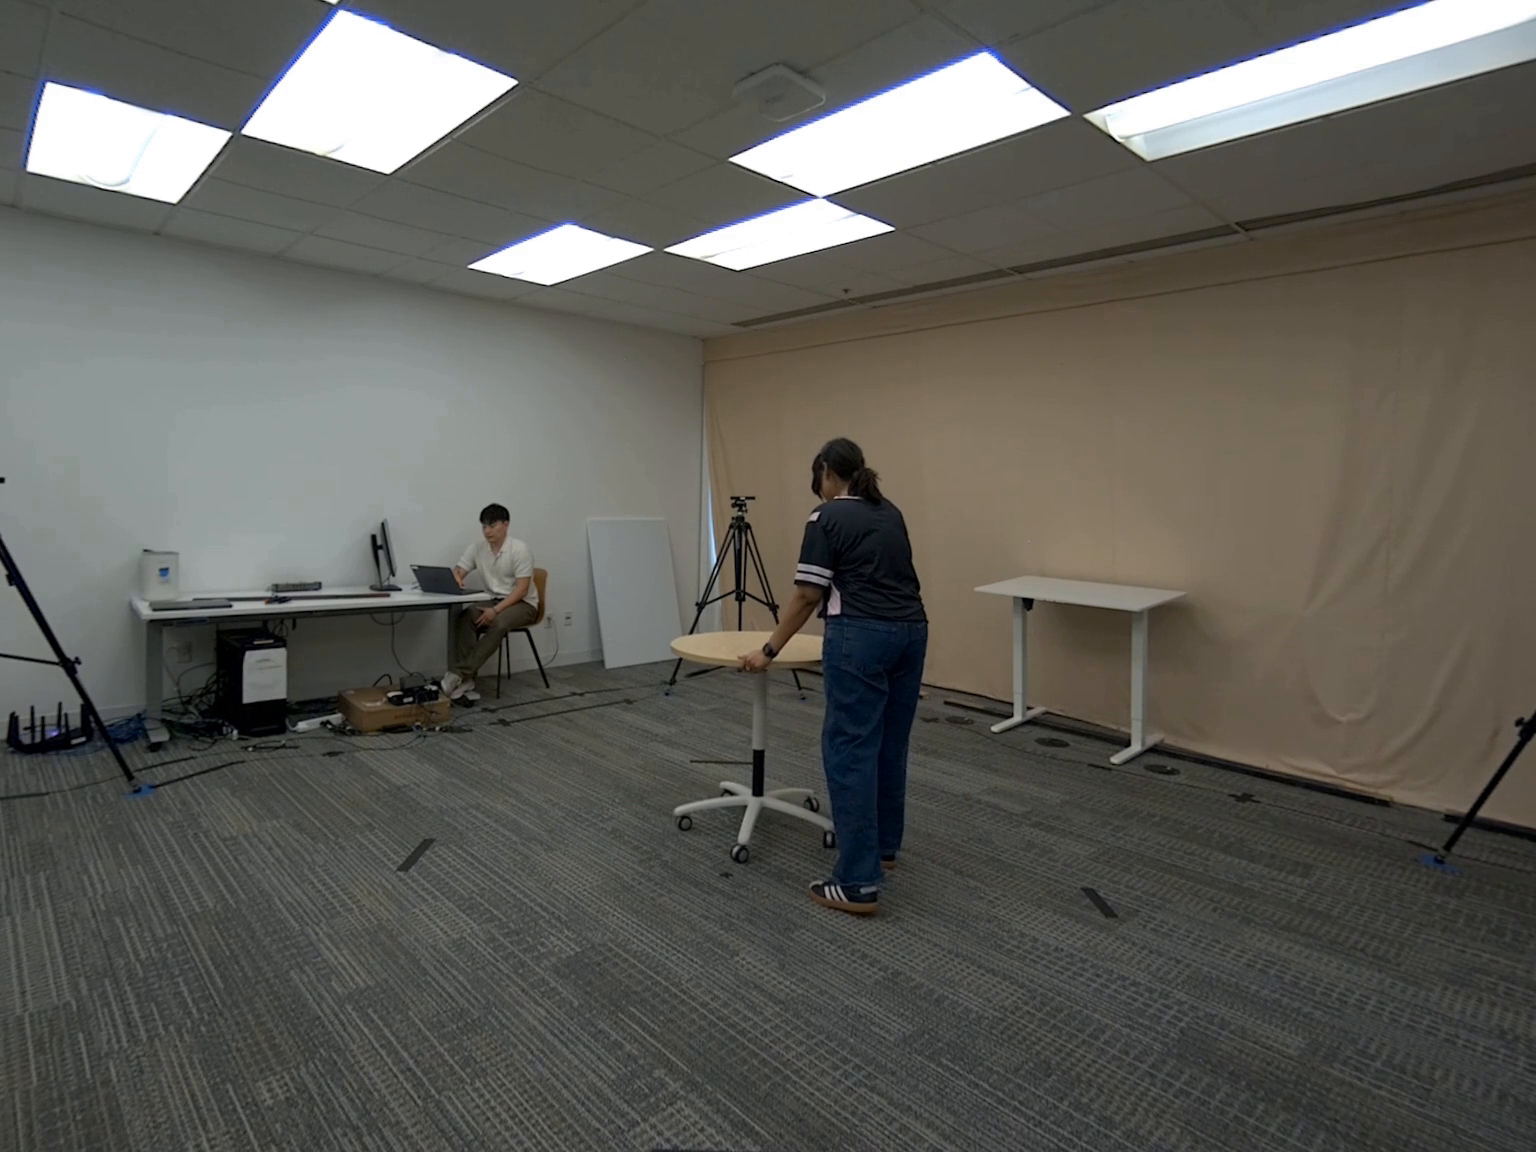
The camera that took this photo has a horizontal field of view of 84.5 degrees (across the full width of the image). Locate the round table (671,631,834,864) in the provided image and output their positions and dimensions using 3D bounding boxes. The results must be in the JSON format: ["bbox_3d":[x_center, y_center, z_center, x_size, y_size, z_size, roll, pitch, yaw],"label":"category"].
[{"bbox_3d":[-0.034,0.676,3.530,0.784,0.784,0.787,1,4,-1],"label":"round table"}]
